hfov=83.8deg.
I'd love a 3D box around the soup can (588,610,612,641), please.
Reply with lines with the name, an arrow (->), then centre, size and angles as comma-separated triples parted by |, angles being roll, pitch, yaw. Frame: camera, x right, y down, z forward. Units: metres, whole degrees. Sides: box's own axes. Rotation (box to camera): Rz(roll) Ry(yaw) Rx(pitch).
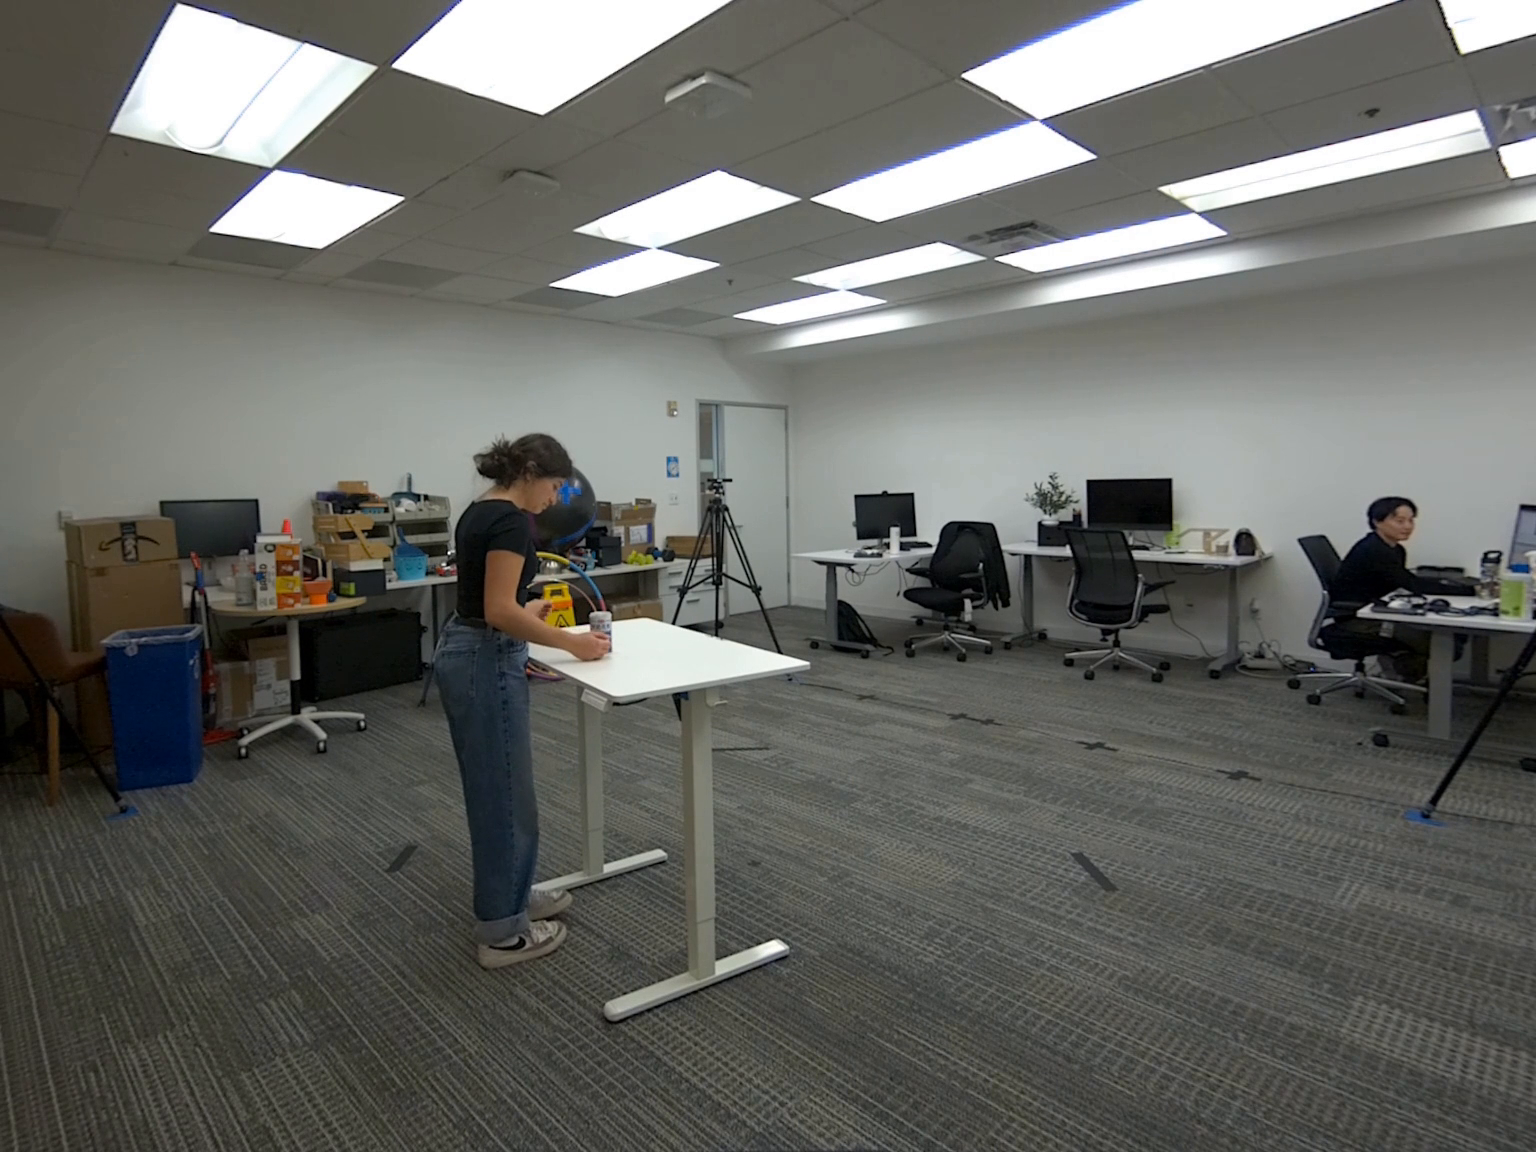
soup can -> -0.509, 0.174, 2.586 | 0.067, 0.121, 0.067 | -1, 5, -2
